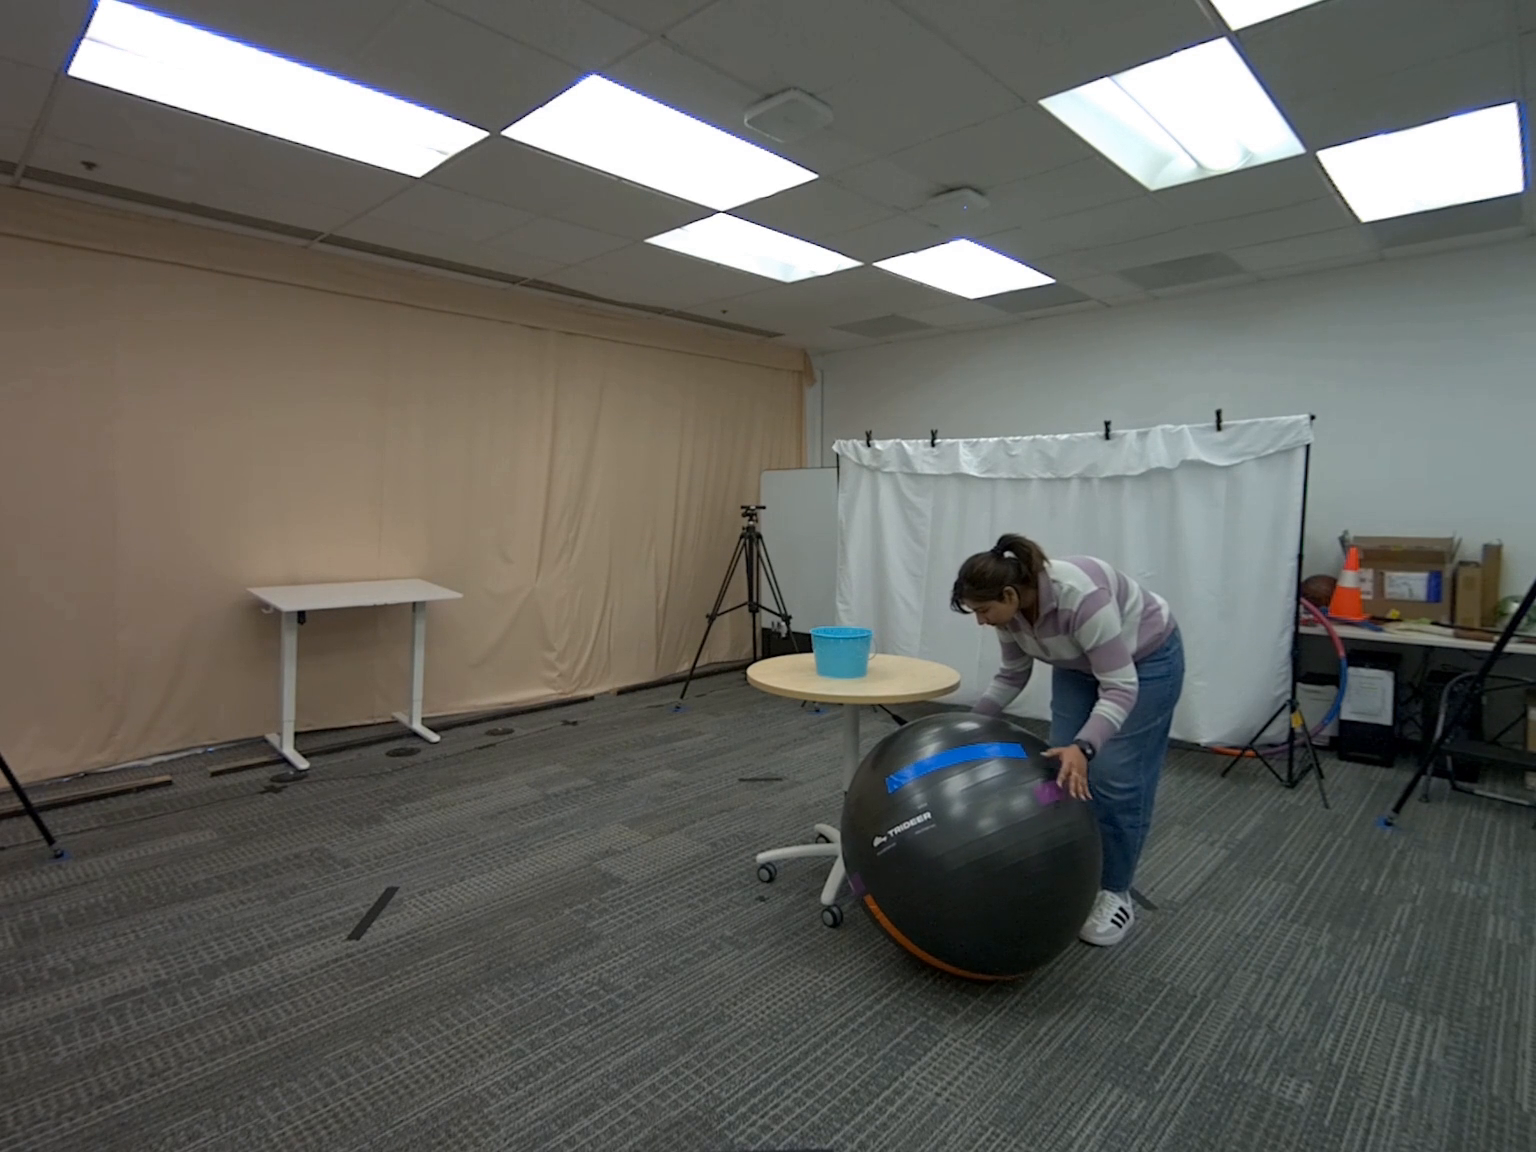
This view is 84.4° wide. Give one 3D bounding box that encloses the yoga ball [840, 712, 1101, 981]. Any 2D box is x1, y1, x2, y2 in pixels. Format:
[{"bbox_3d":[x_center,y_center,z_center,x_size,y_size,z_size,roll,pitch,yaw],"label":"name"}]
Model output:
[{"bbox_3d":[0.606,0.806,2.553,0.757,0.756,0.760,0,4,-2],"label":"yoga ball"}]
